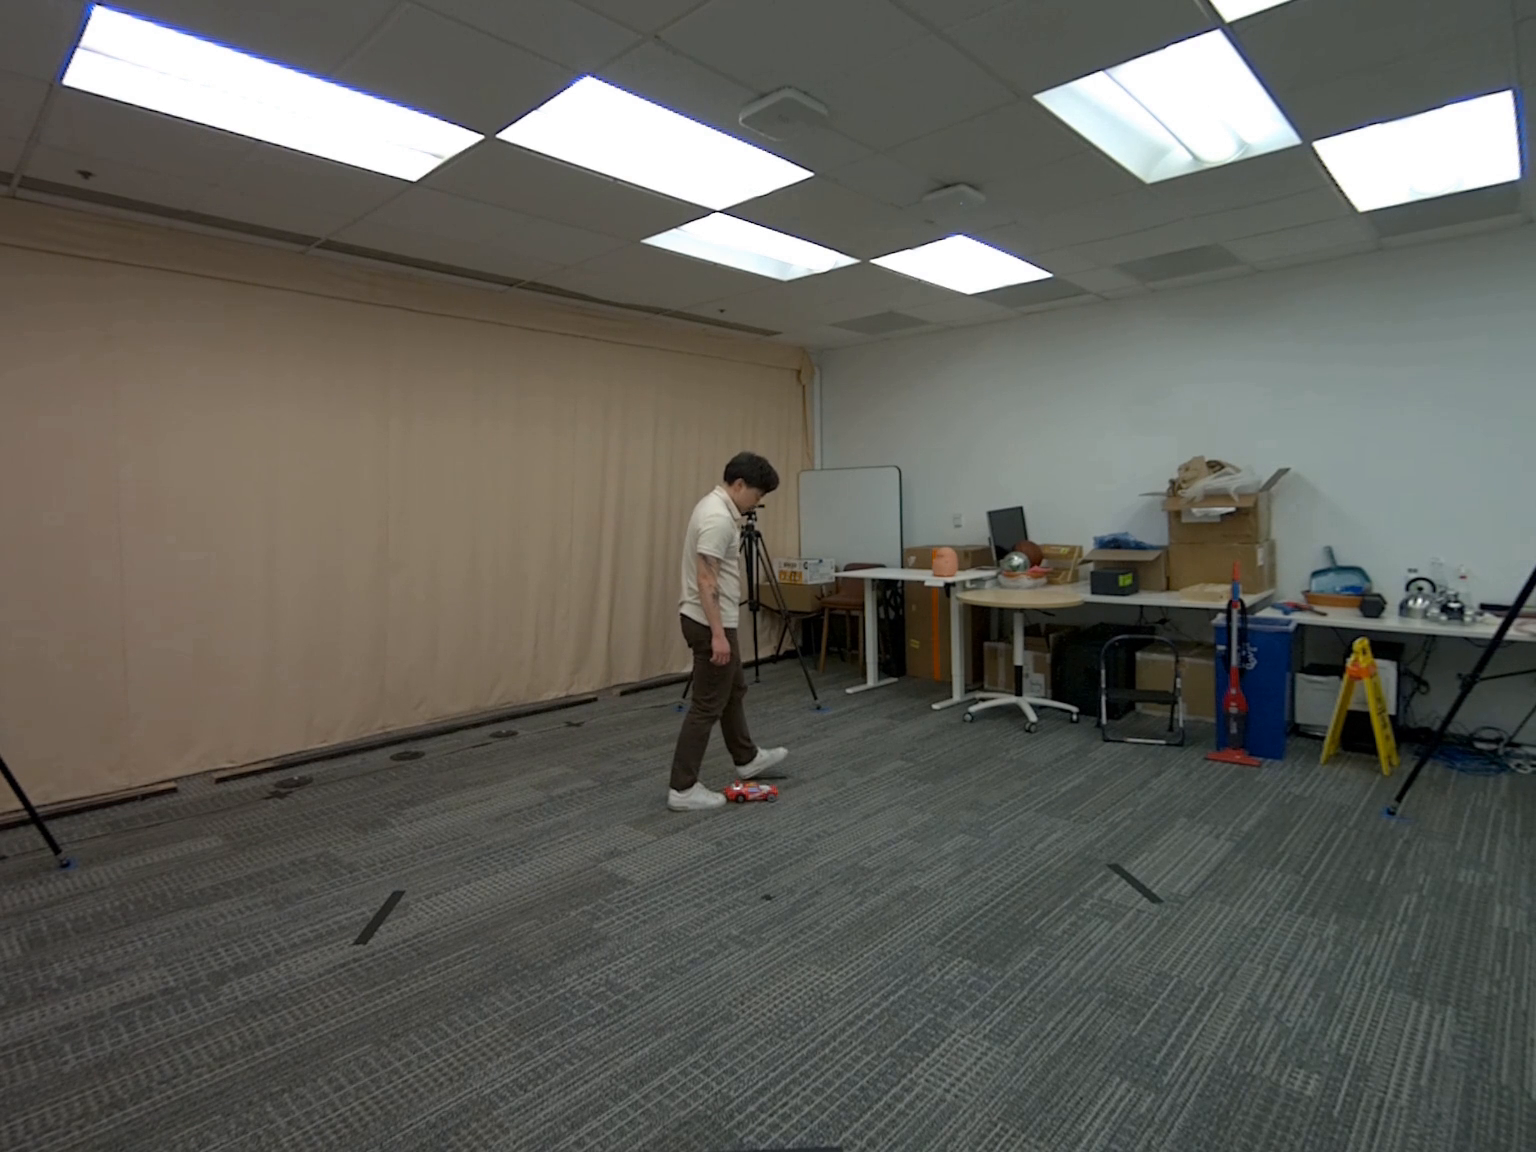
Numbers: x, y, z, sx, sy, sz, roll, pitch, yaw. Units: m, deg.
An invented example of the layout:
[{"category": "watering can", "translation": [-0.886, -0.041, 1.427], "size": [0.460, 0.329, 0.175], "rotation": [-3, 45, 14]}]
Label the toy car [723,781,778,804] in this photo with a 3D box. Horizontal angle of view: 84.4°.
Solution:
[{"category": "toy car", "translation": [-0.087, 1.031, 3.994], "size": [0.253, 0.083, 0.131], "rotation": [9, 2, -5]}]
